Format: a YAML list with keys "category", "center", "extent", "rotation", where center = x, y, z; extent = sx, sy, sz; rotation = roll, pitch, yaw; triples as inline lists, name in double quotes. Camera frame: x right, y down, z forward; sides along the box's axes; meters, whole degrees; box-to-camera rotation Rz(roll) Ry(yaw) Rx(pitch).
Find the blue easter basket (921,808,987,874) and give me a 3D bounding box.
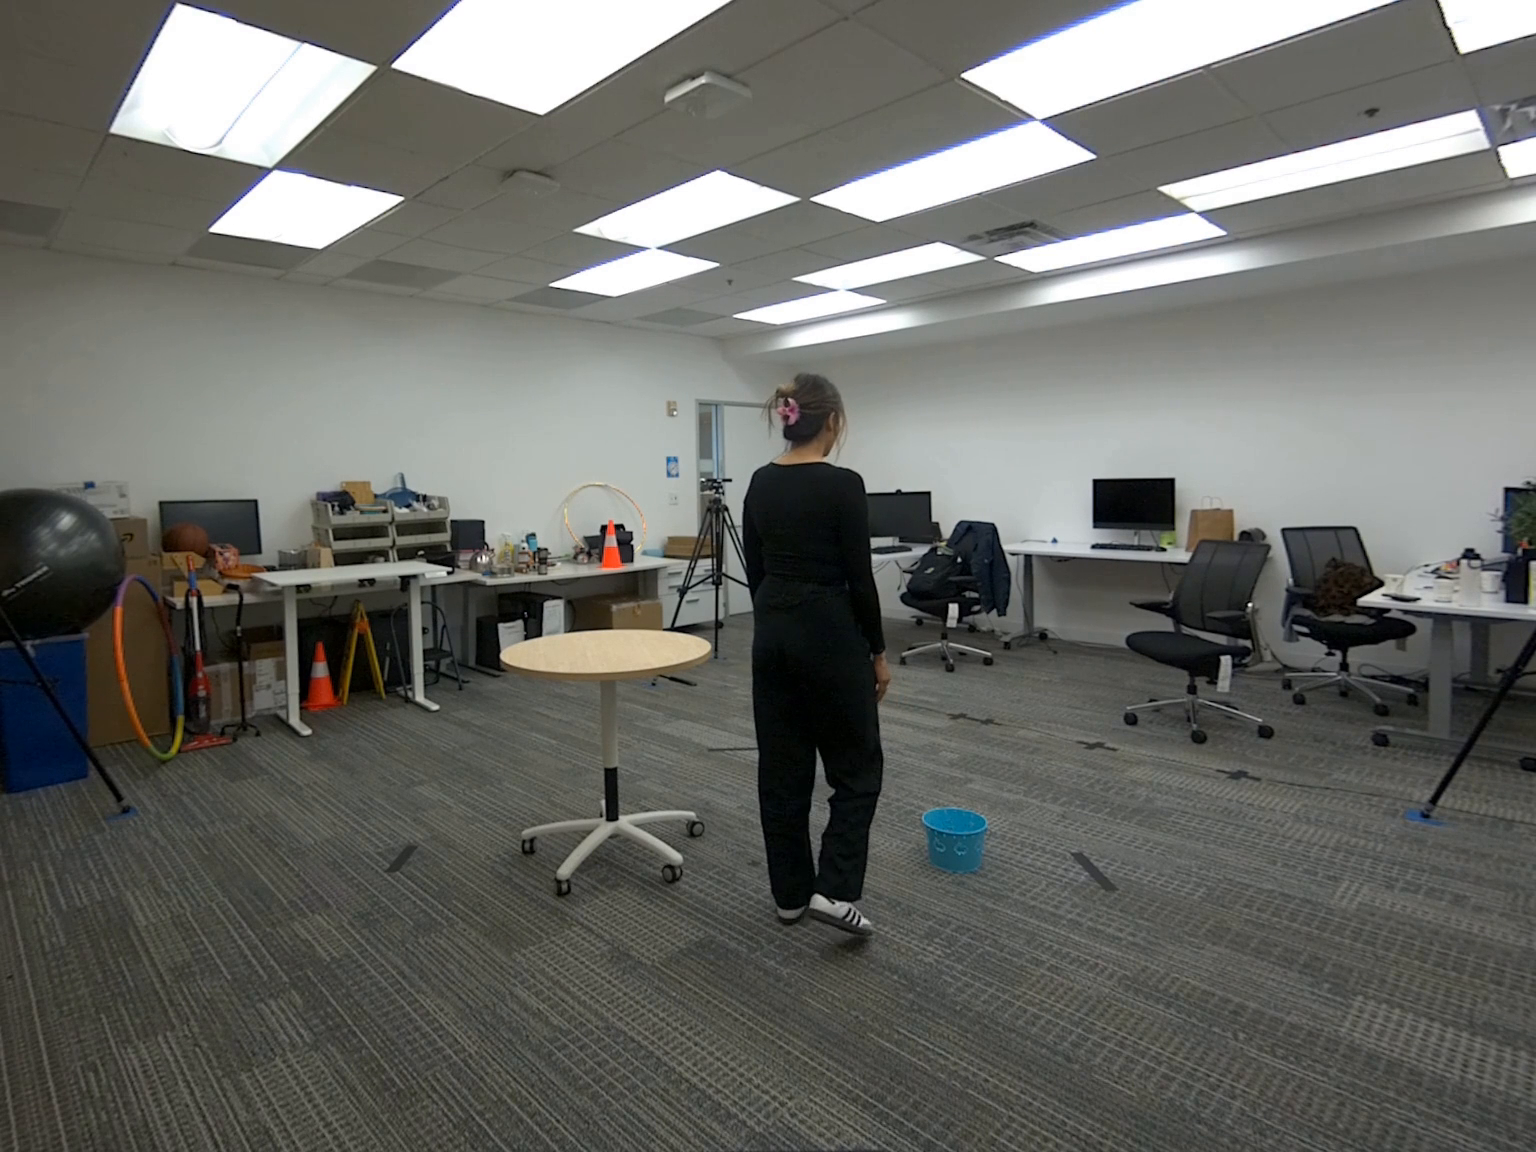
- category: "blue easter basket"
  center: [0.682, 0.955, 3.096]
  extent: [0.243, 0.155, 0.245]
  rotation: [-1, 6, -2]
